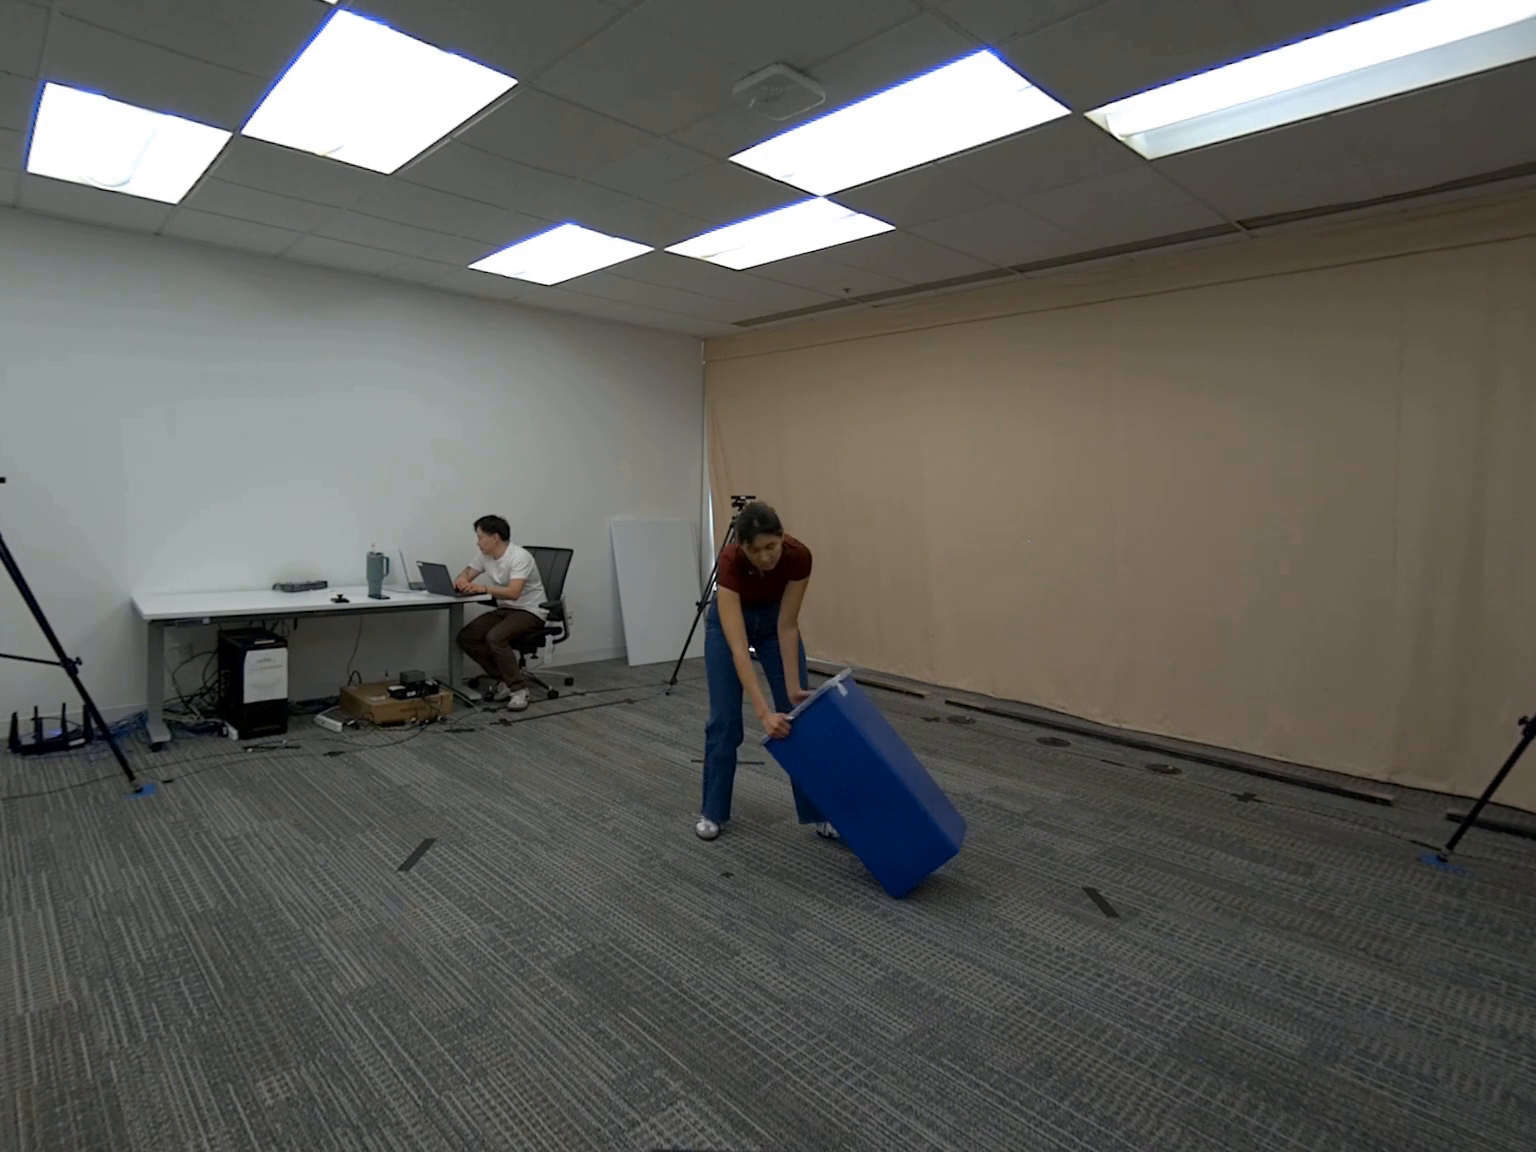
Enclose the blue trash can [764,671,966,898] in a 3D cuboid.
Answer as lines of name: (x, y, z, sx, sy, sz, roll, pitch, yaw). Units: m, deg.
blue trash can: (0.344, 0.756, 3.097, 0.374, 0.724, 0.372, -43, -13, 17)
